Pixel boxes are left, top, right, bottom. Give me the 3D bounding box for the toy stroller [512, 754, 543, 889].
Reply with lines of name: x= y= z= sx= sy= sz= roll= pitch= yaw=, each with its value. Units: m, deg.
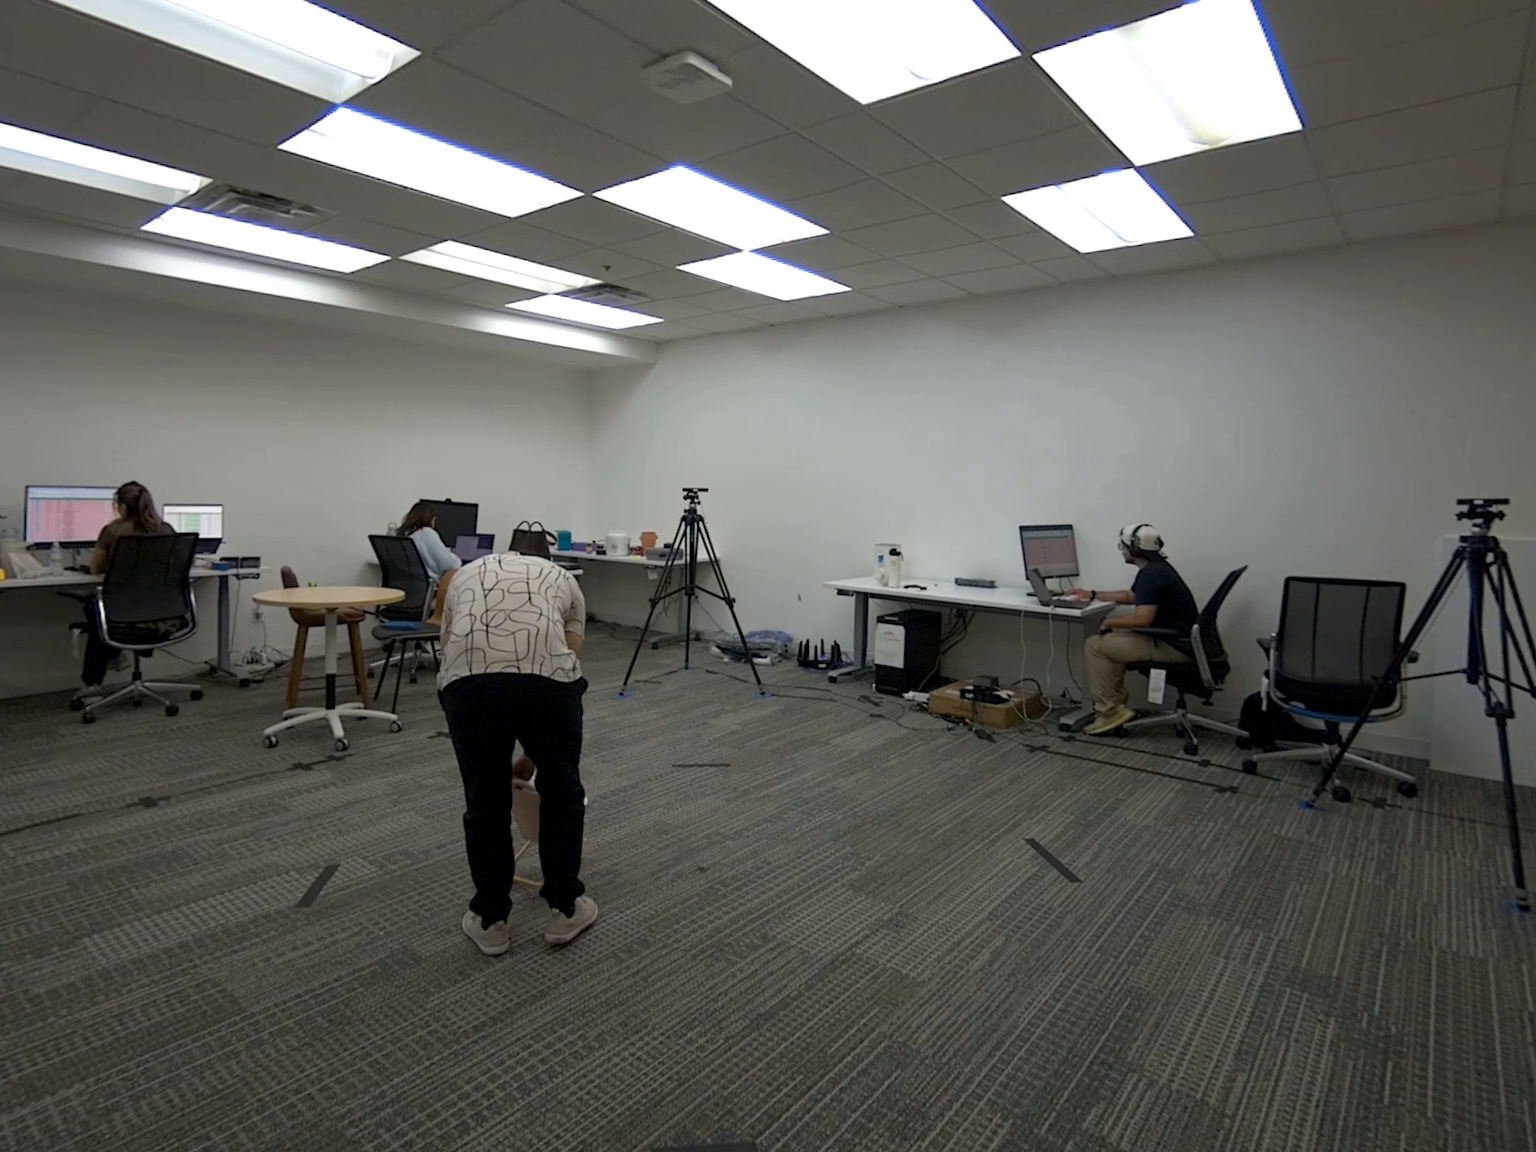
toy stroller: x=-0.783 y=0.840 z=2.984 sx=0.289 sy=0.526 sz=0.337 roll=4 pitch=19 yaw=28
